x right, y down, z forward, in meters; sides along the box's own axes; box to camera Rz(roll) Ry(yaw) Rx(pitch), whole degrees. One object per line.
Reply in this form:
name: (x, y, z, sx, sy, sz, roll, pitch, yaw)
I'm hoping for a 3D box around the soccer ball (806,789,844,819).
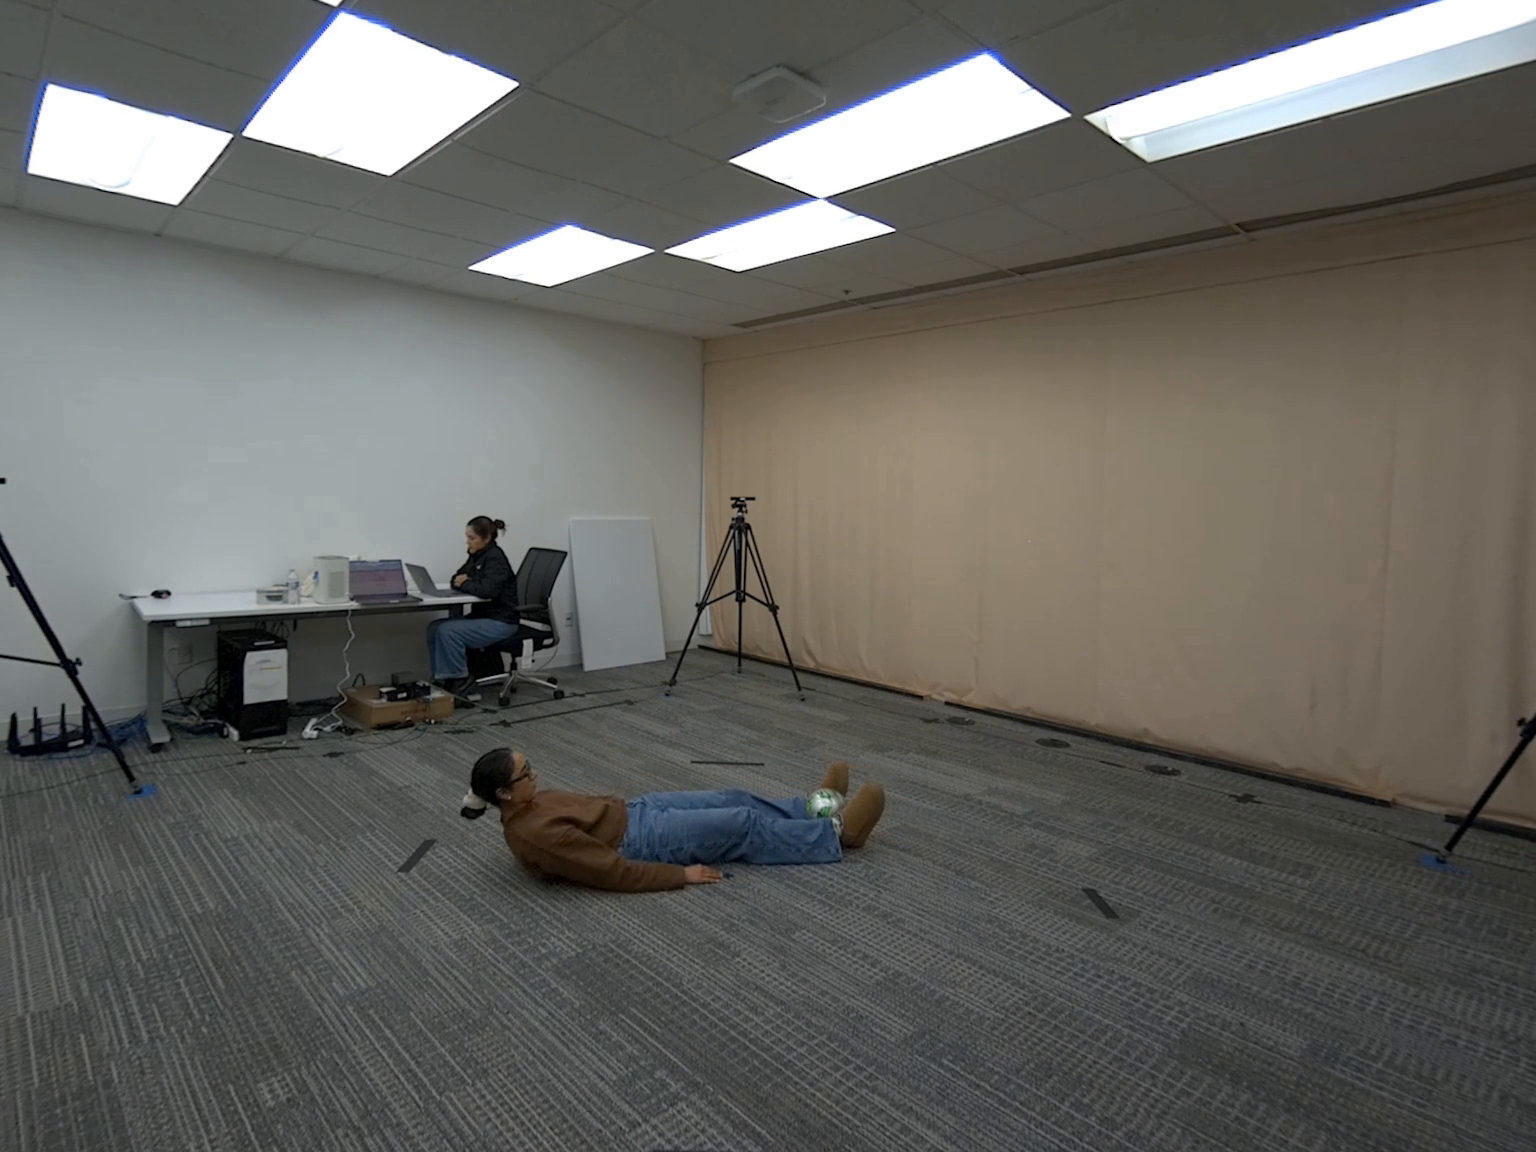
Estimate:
soccer ball: (0.238, 0.971, 3.464, 0.187, 0.187, 0.188, 1, 4, -1)
